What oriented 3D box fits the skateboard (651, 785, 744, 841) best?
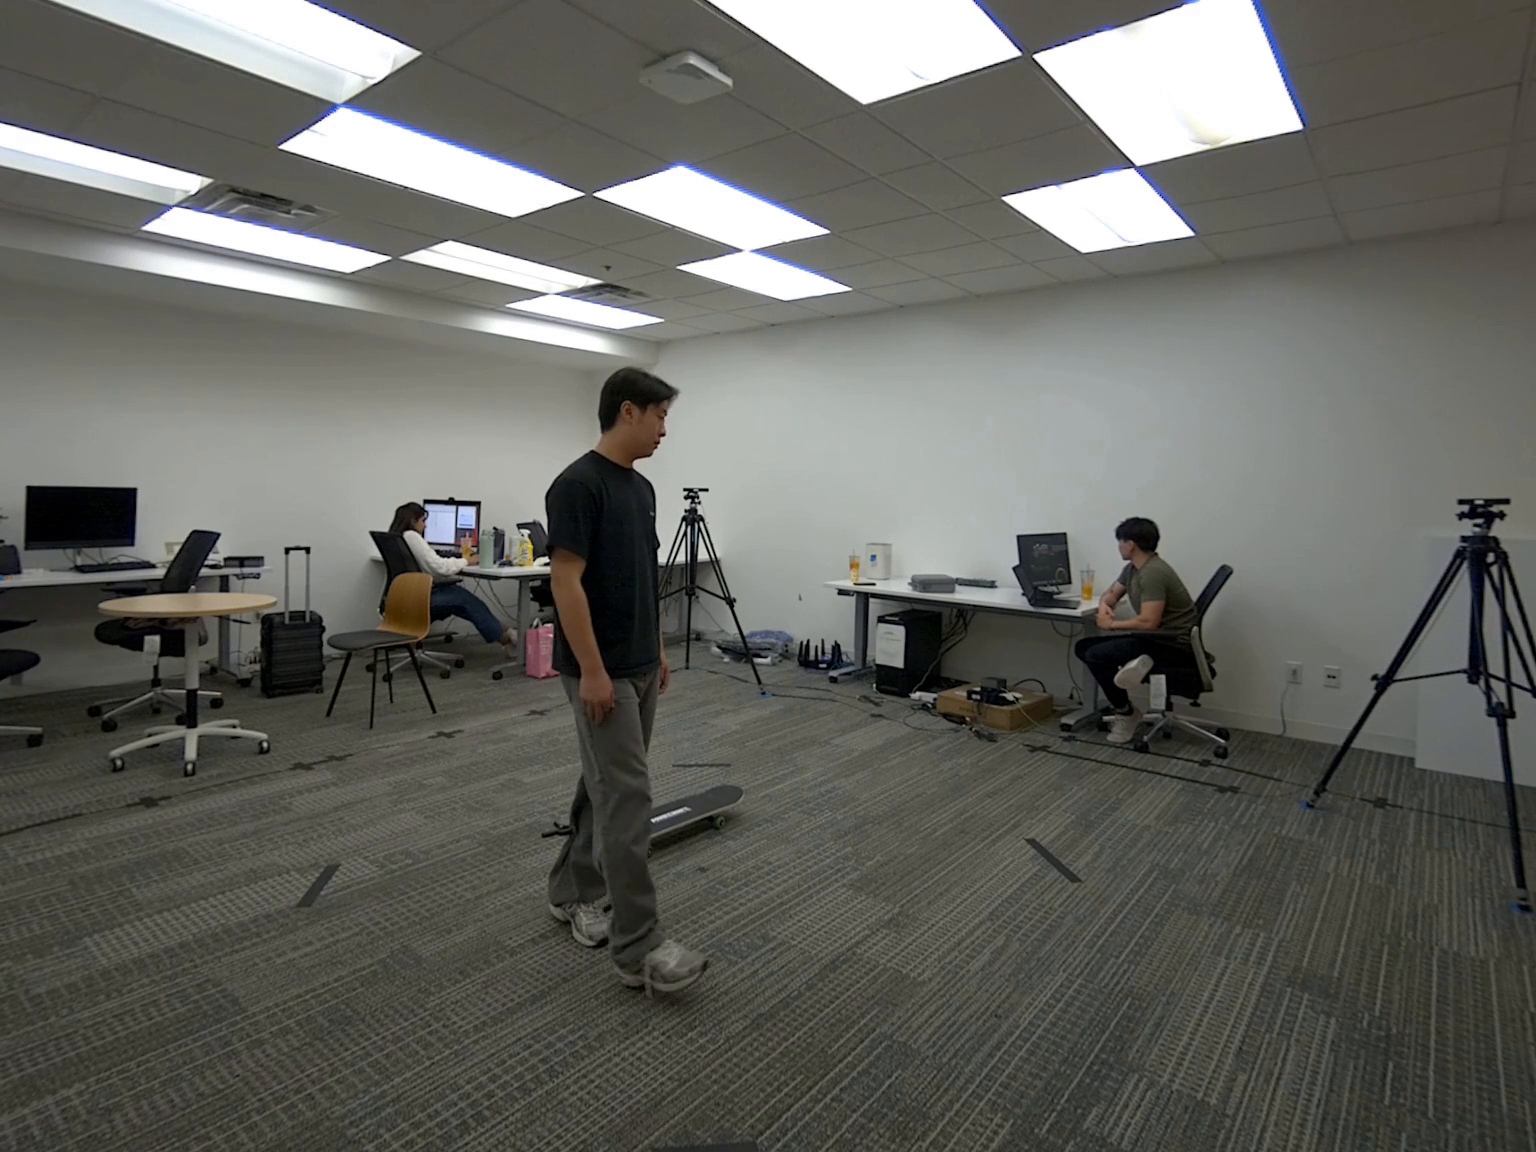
[{"bbox_3d":[-0.395,0.986,3.400,0.200,0.110,0.762,6,8,42],"label":"skateboard"}]
